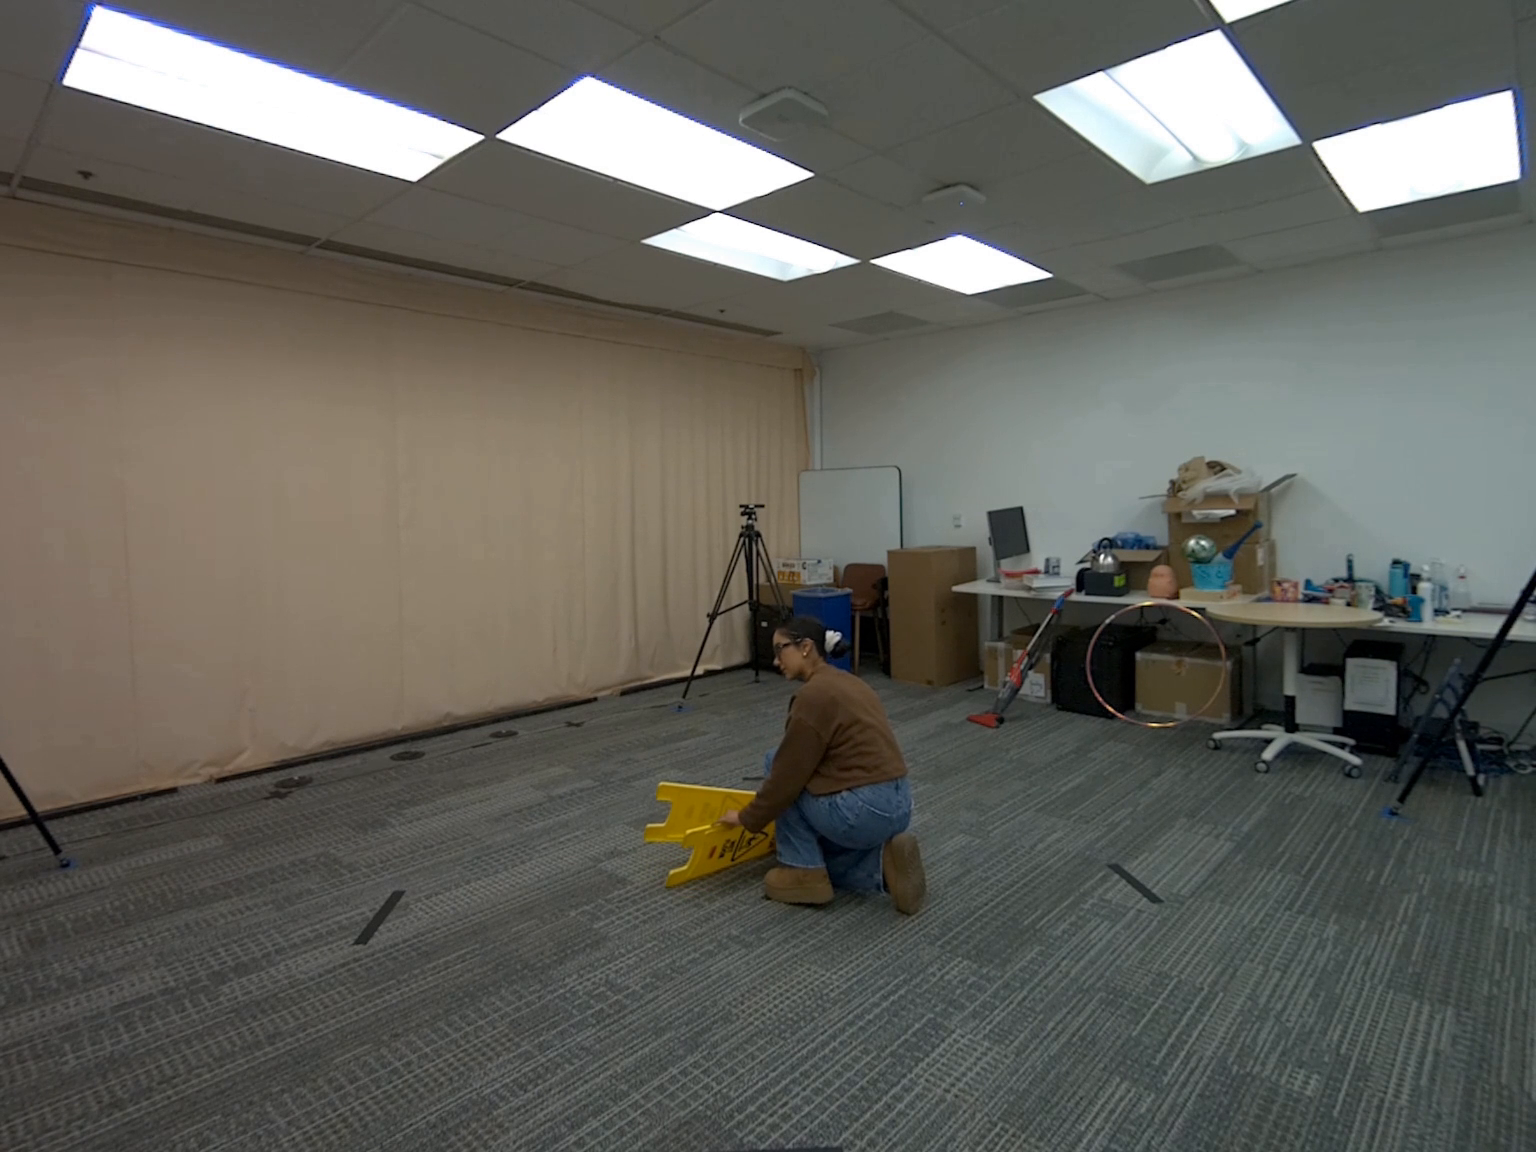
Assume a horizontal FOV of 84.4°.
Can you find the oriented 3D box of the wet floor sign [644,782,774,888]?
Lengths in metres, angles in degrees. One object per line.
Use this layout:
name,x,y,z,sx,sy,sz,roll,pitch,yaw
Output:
wet floor sign,-0.117,0.983,3.275,0.628,0.280,0.299,5,24,-28
